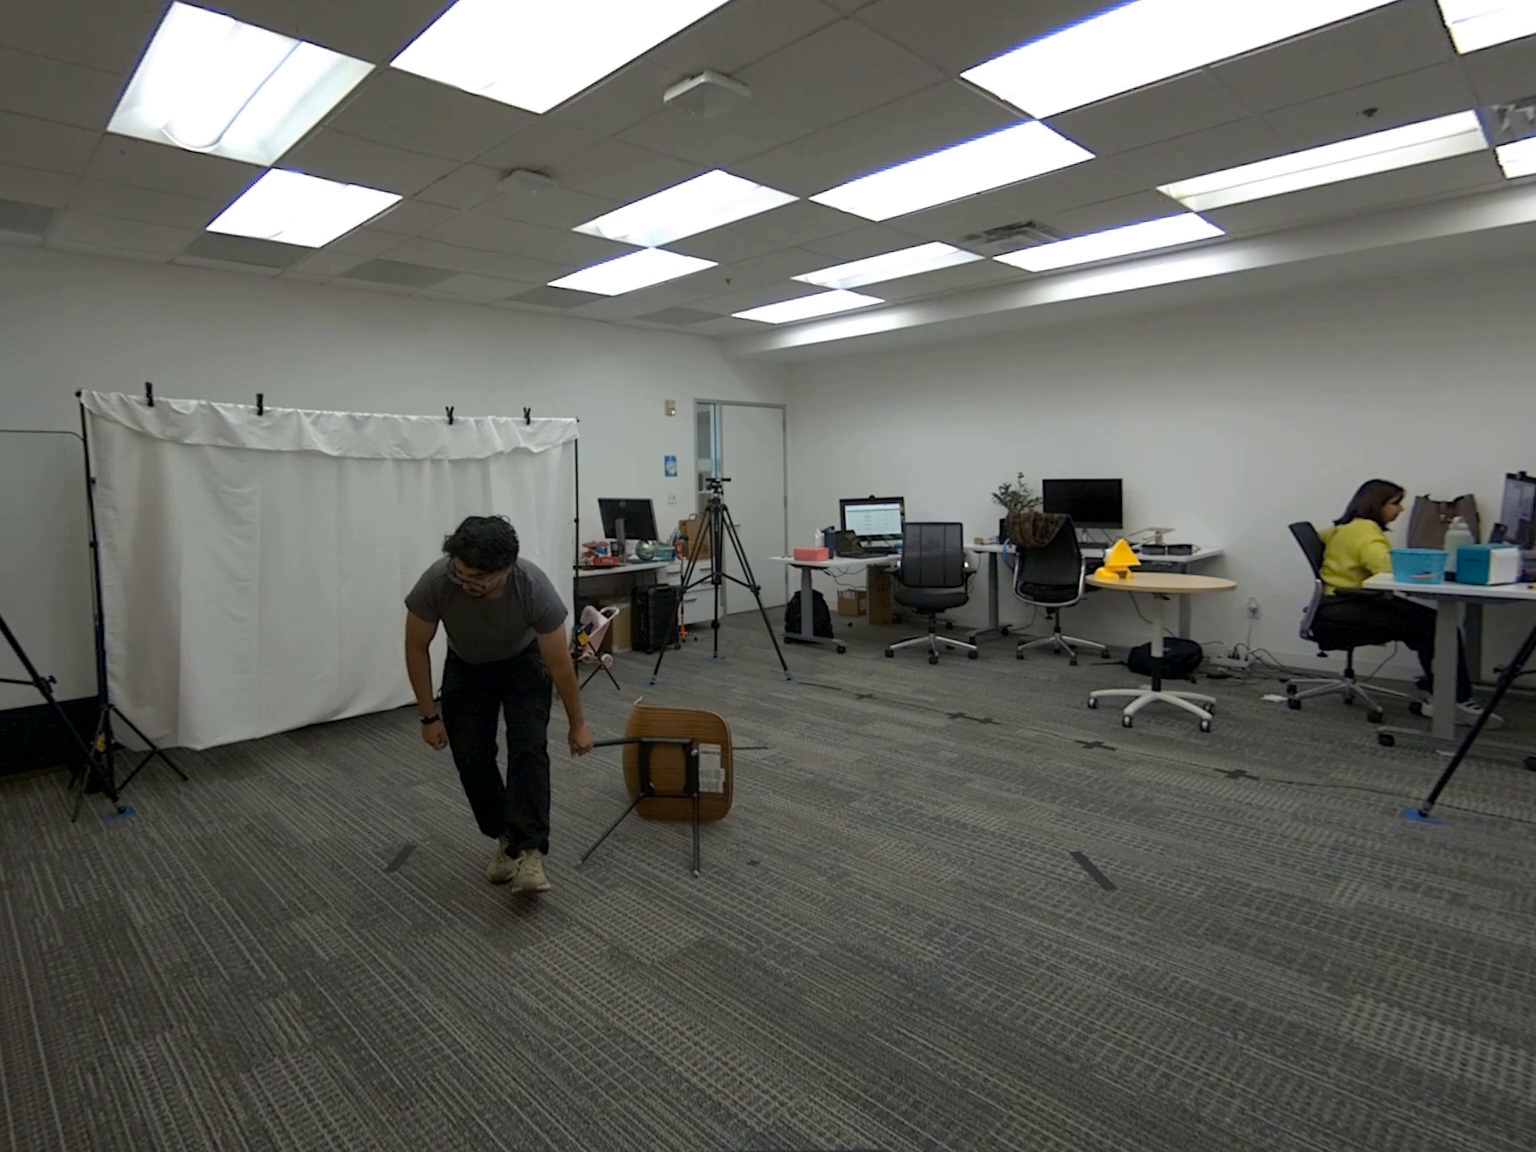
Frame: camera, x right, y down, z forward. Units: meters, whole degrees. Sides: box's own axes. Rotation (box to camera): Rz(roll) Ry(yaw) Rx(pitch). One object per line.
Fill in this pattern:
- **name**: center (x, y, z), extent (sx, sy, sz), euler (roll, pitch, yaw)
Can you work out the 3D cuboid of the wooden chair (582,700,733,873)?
- **wooden chair**: center (-0.406, 0.776, 3.446), extent (0.527, 0.476, 0.875), euler (-1, 5, 6)
